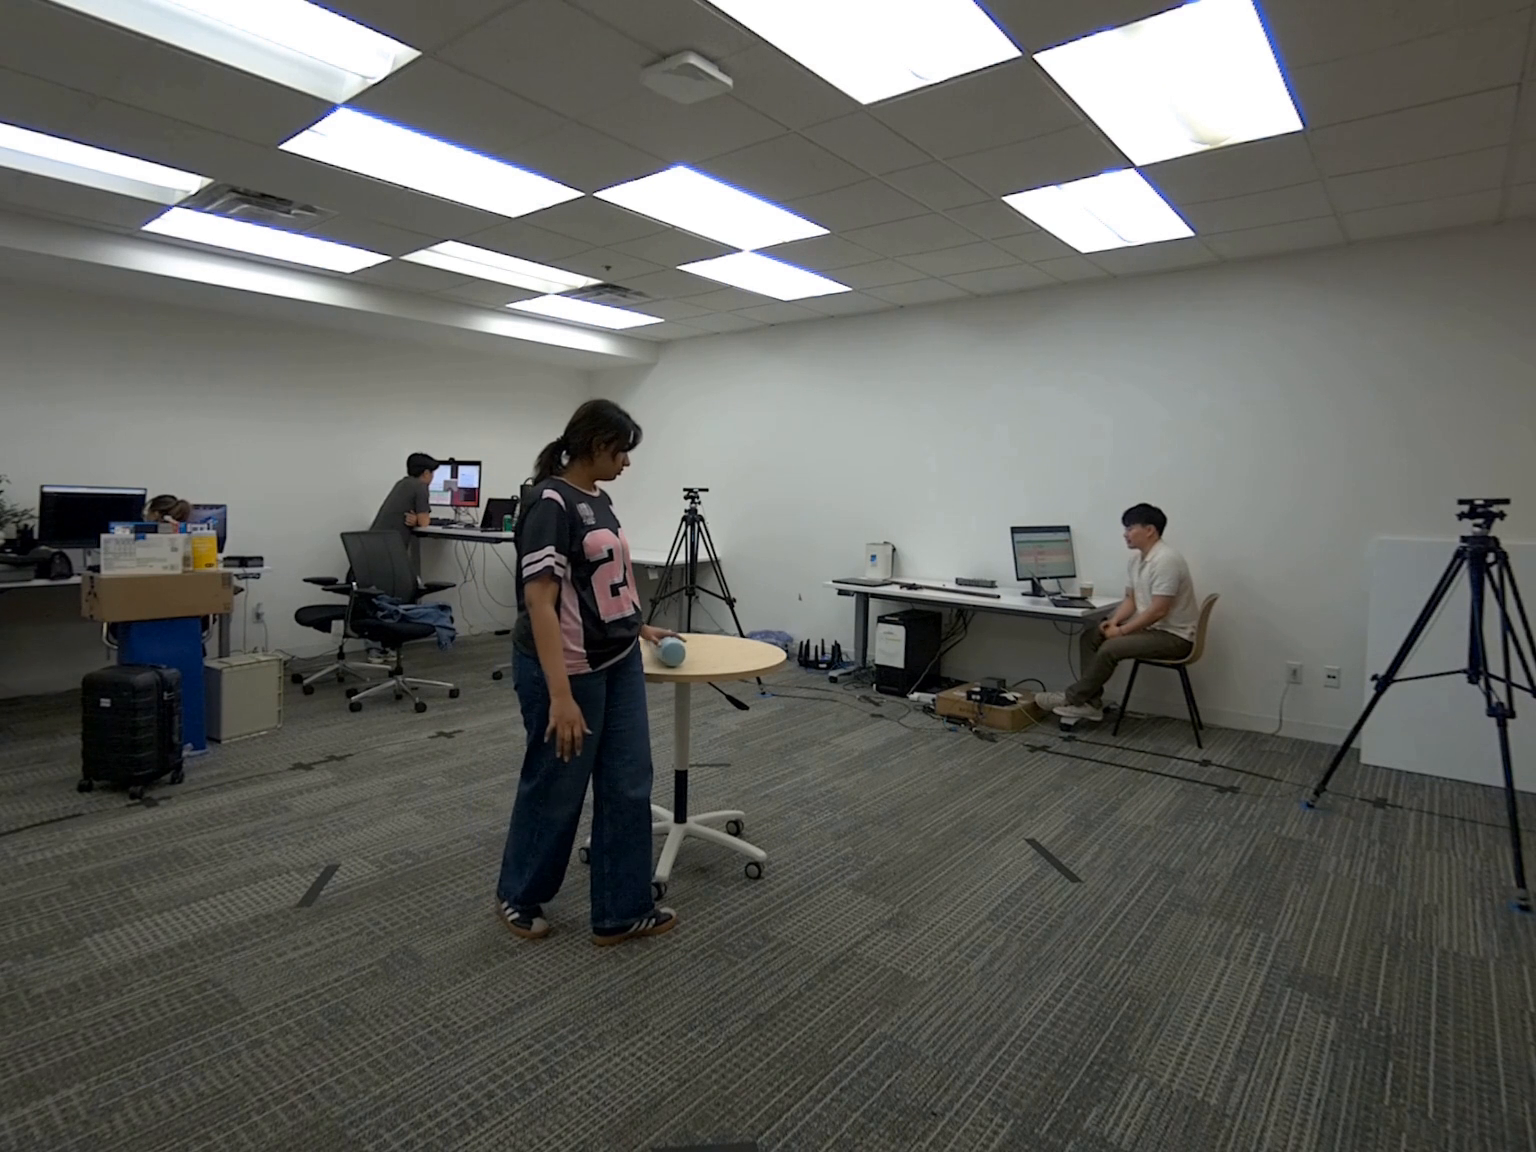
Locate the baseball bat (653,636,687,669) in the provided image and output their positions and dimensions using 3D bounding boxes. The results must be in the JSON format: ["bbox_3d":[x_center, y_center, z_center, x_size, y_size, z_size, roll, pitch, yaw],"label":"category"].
[{"bbox_3d":[-0.405,0.245,3.115,0.087,0.089,0.553,0,4,-17],"label":"baseball bat"}]
